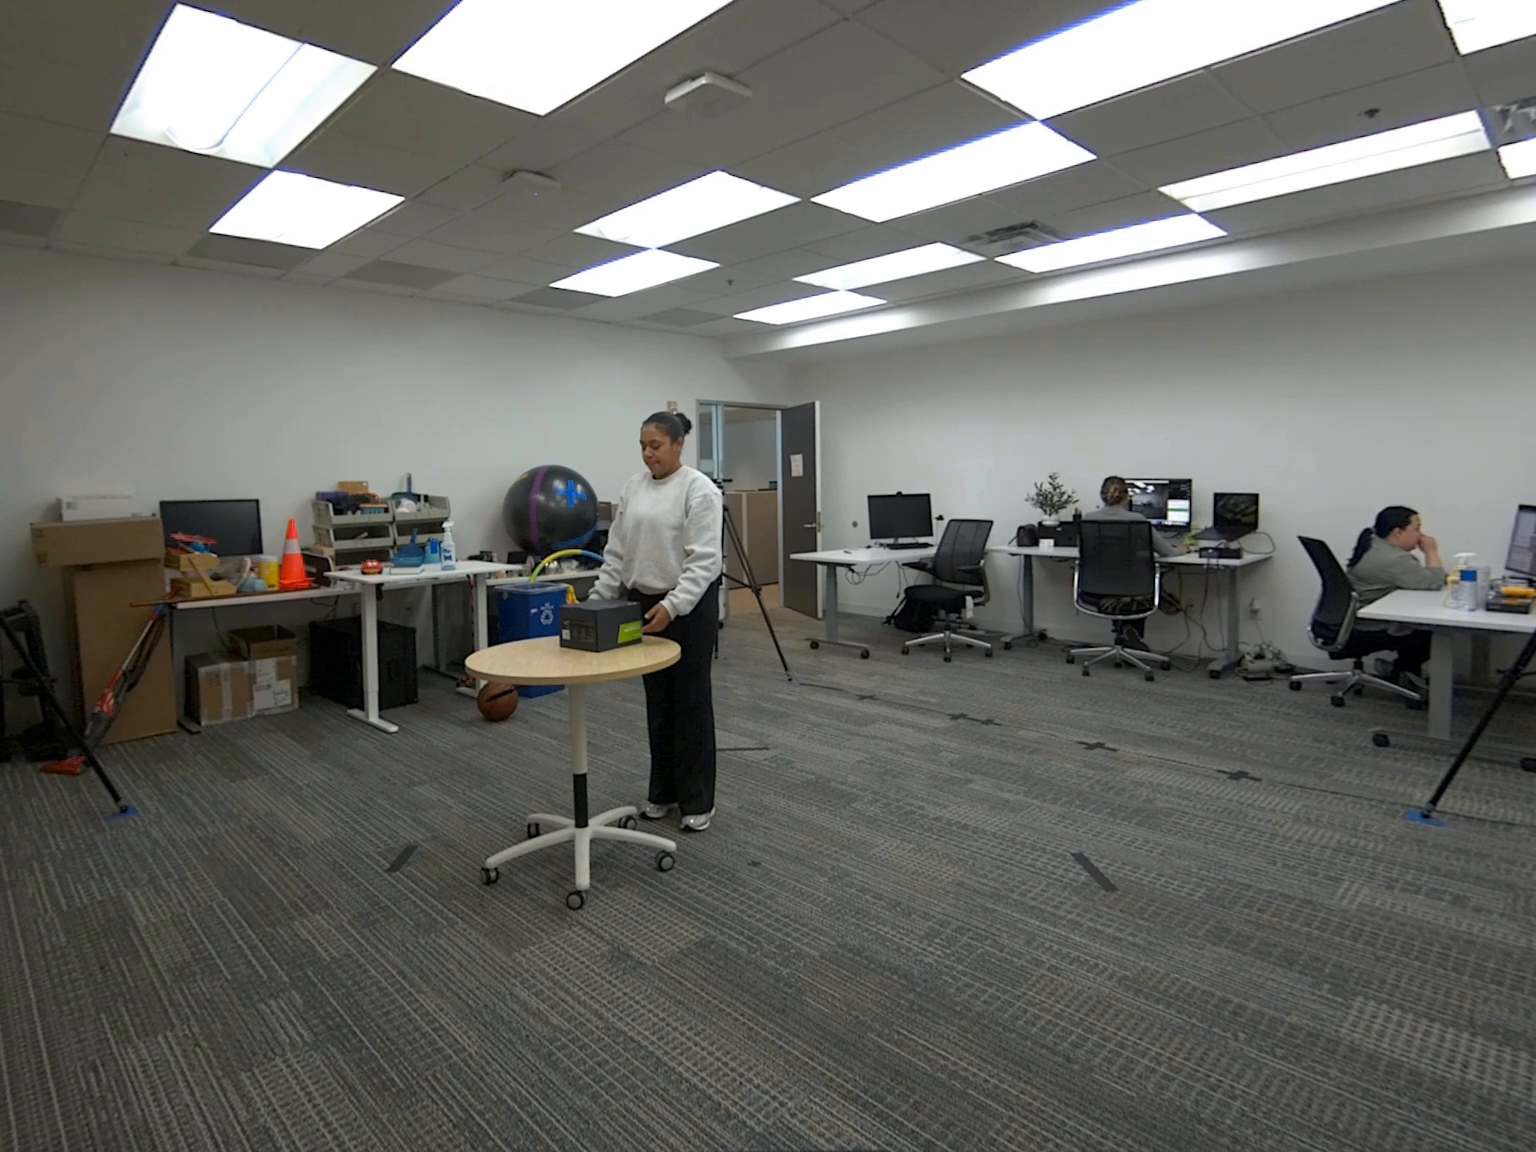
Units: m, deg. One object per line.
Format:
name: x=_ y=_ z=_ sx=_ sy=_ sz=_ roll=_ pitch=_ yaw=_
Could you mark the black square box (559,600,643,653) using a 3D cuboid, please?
black square box: x=-0.633 y=0.183 z=3.216 sx=0.223 sy=0.155 sz=0.222 roll=3 pitch=7 yaw=38
